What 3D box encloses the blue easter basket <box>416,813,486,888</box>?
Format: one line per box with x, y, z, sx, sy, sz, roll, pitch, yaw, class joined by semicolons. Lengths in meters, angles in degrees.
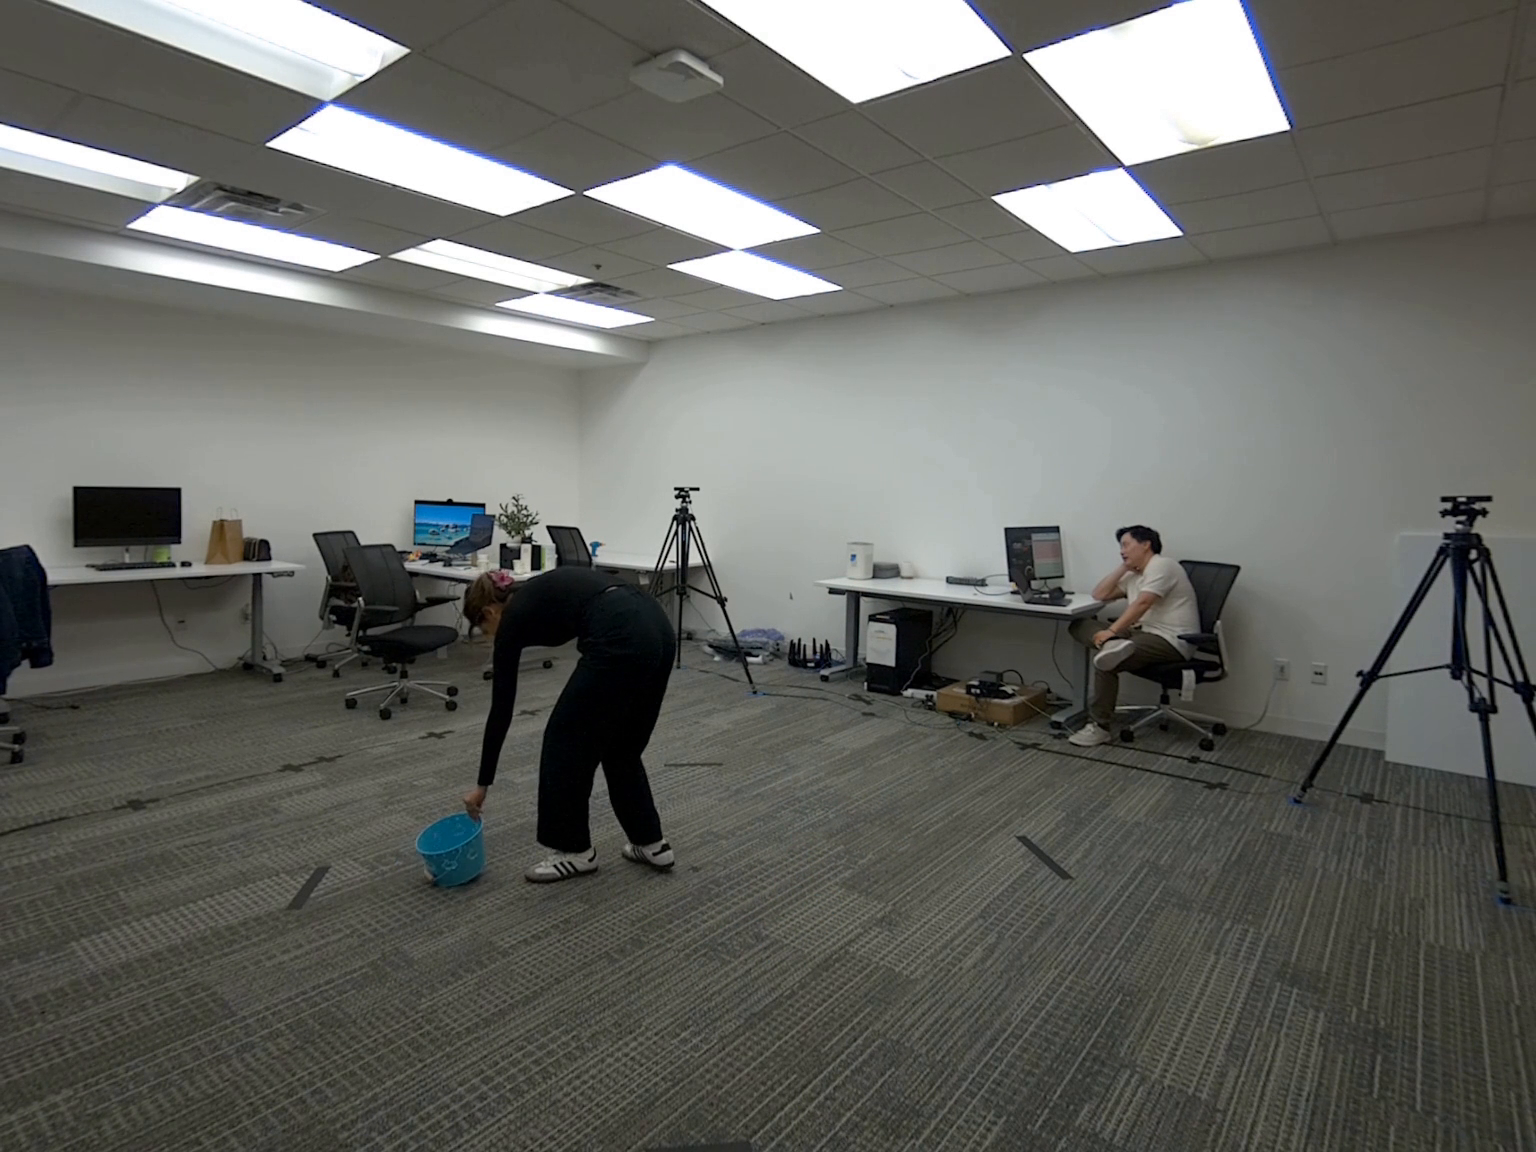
-1.121;0.972;3.000;0.244;0.153;0.247;-9;15;1;blue easter basket
